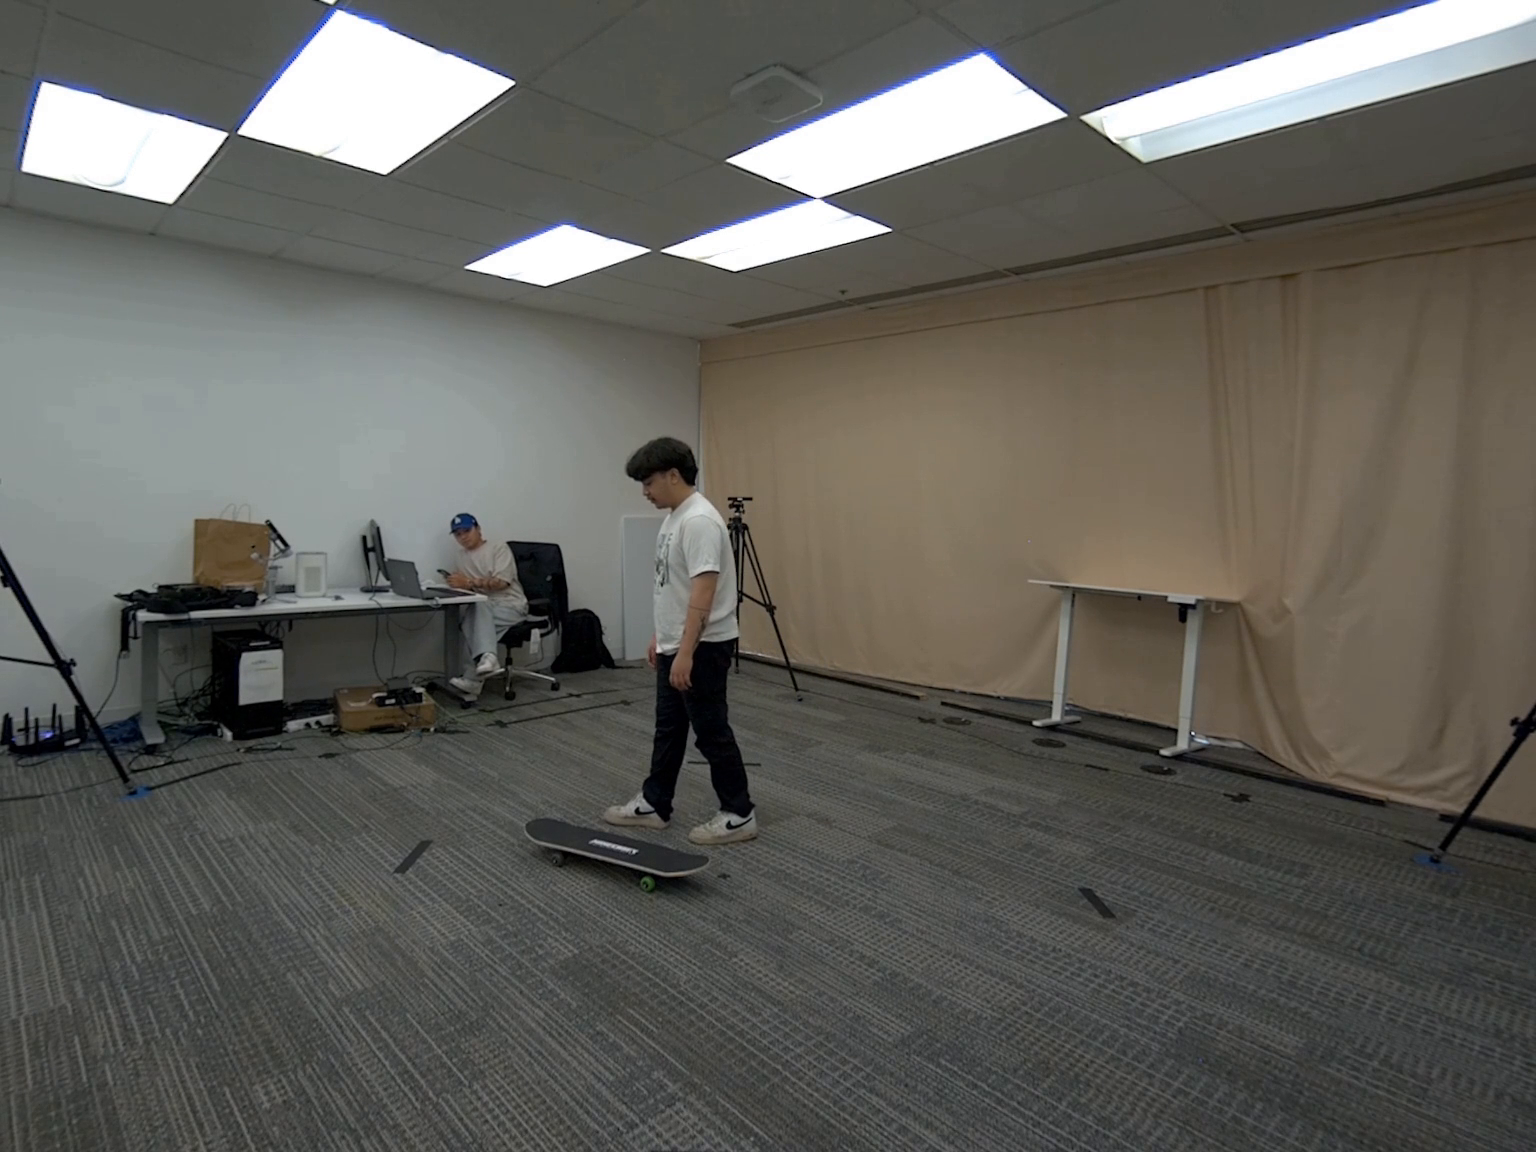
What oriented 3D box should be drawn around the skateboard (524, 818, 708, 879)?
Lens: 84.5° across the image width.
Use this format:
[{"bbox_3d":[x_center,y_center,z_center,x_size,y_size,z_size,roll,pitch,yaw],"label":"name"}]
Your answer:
[{"bbox_3d":[-0.576,1.036,3.131,0.801,0.110,0.190,4,6,27],"label":"skateboard"}]
